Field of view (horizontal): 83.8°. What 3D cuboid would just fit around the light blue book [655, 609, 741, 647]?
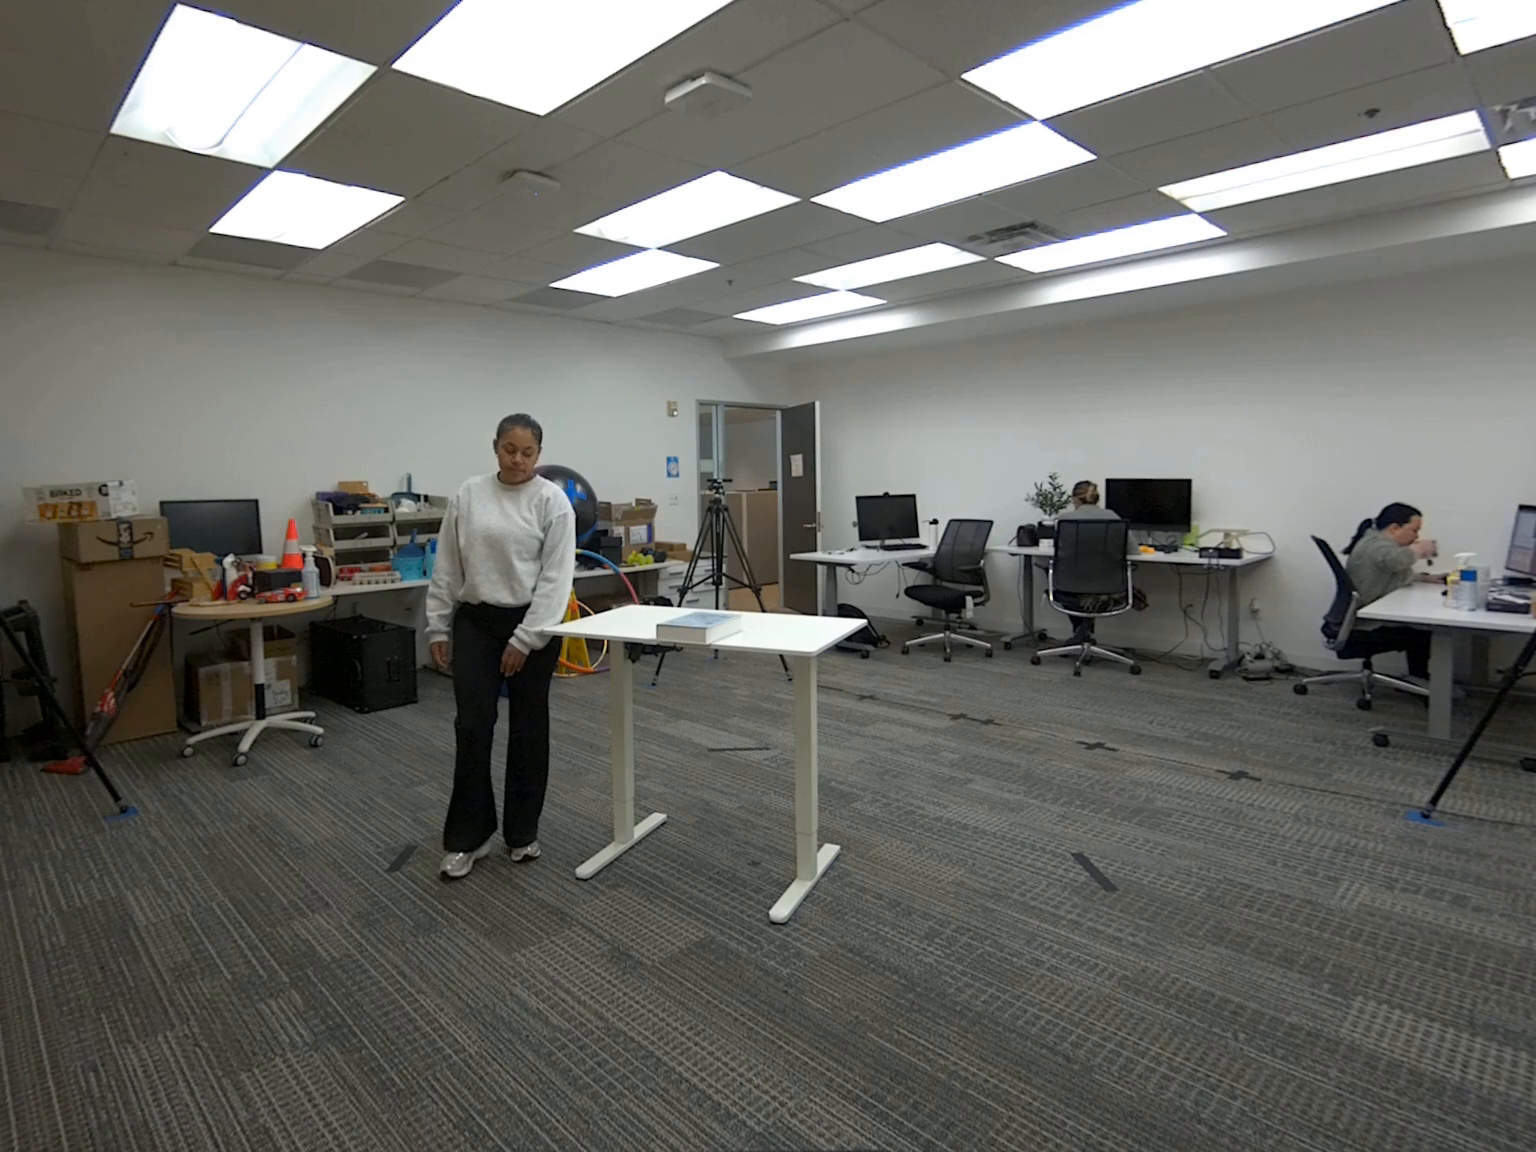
[{"bbox_3d":[-0.215,0.172,2.829,0.196,0.059,0.256,3,8,26],"label":"light blue book"}]
